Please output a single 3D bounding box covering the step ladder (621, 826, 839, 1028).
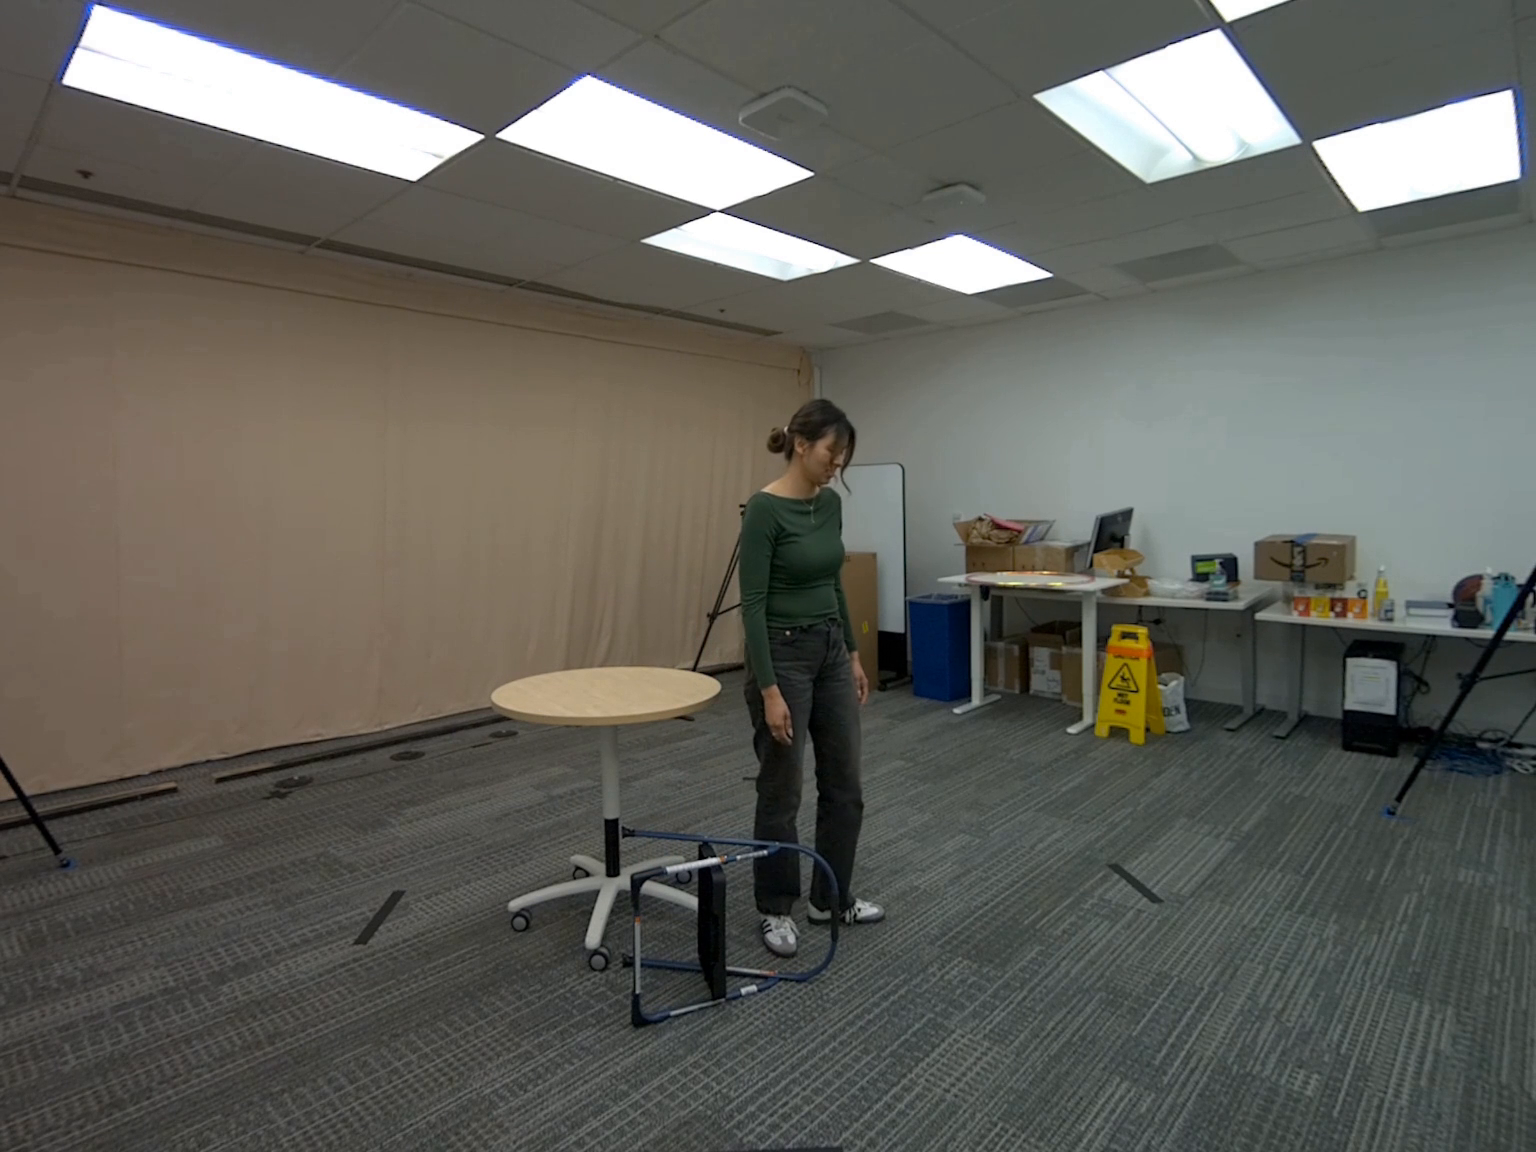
[{"bbox_3d":[-0.110,0.973,2.451,0.599,0.429,0.355,-1,5,-12],"label":"step ladder"}]
